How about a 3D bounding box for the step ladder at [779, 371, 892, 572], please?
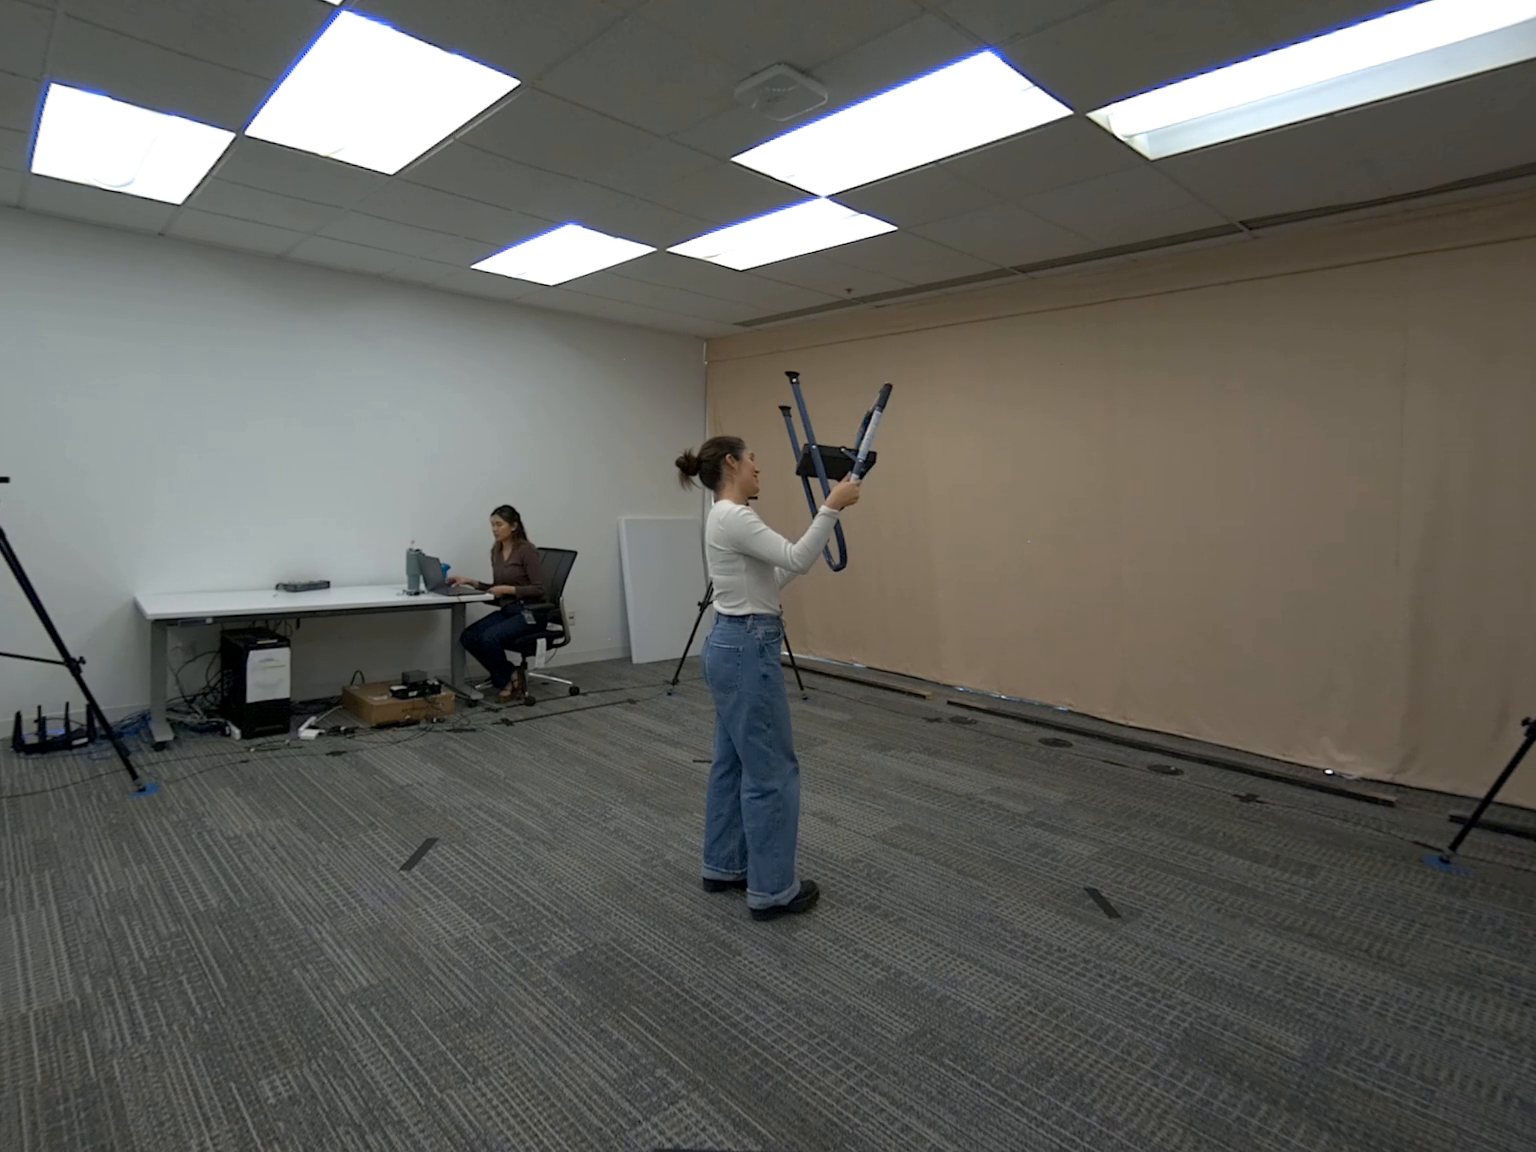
[{"bbox_3d":[0.186,-0.324,2.890,0.349,0.609,0.428,5,-7,0],"label":"step ladder"}]
